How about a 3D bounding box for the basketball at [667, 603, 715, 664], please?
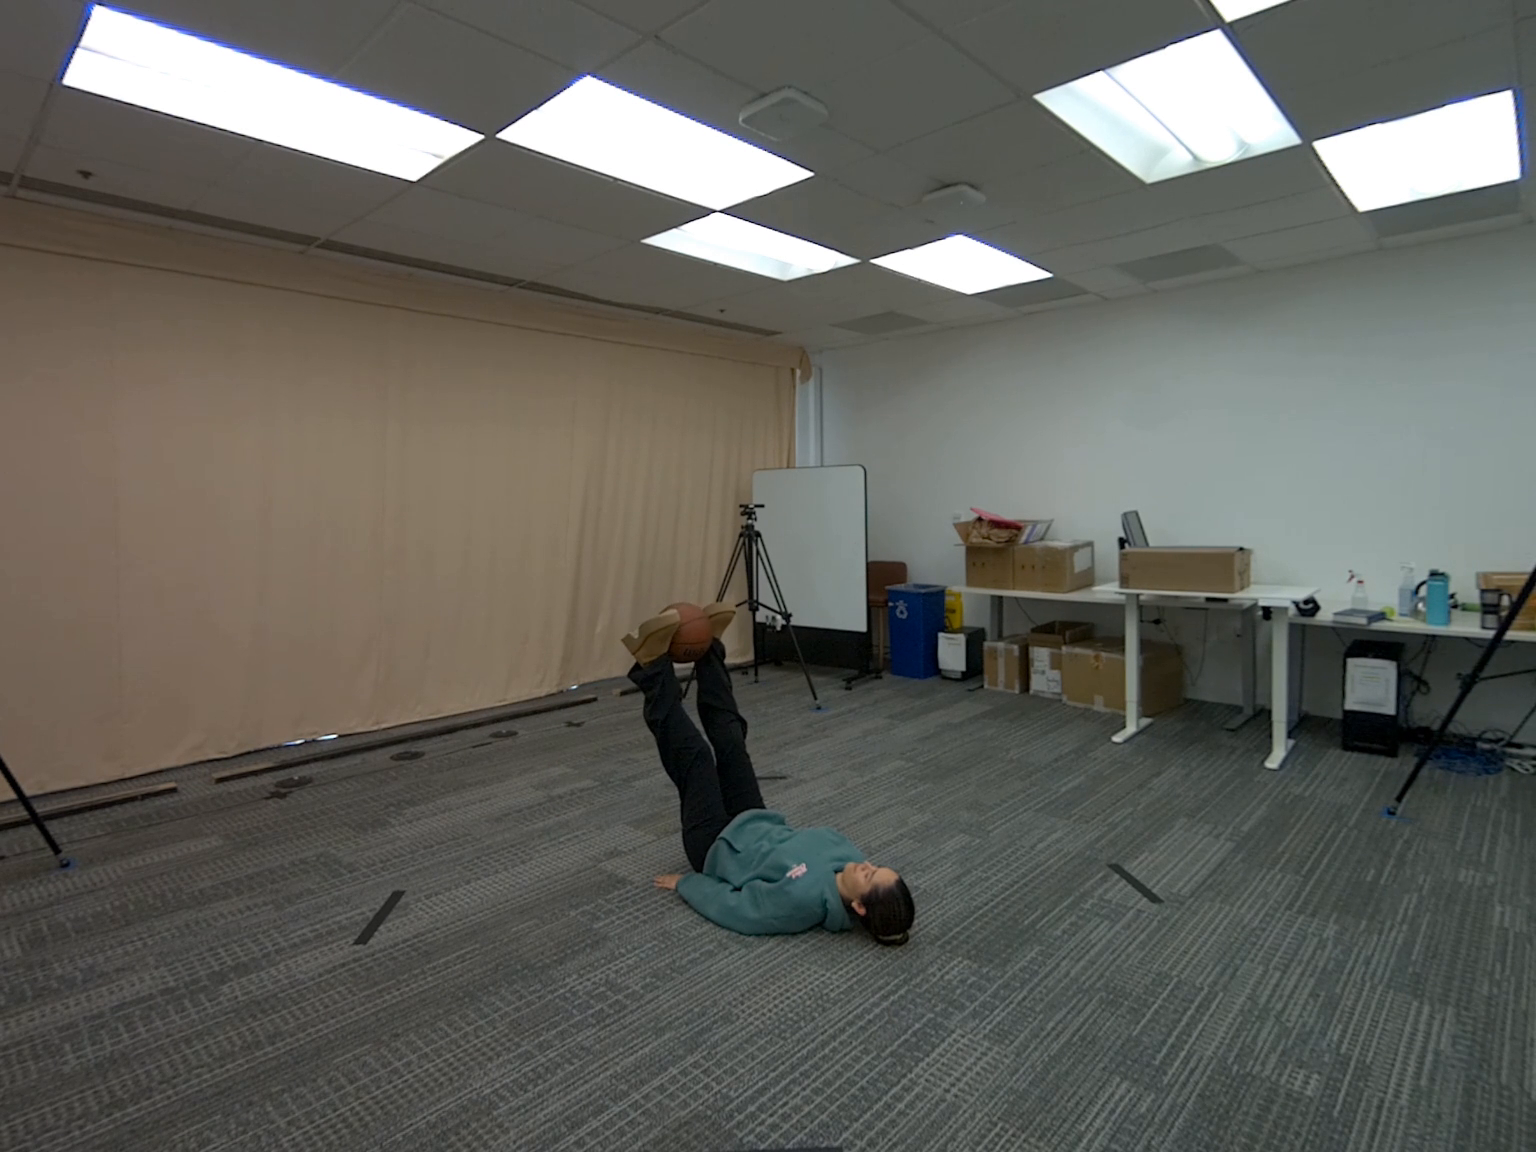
[{"bbox_3d":[-0.334,0.220,3.262,0.236,0.235,0.237,0,4,-2],"label":"basketball"}]
